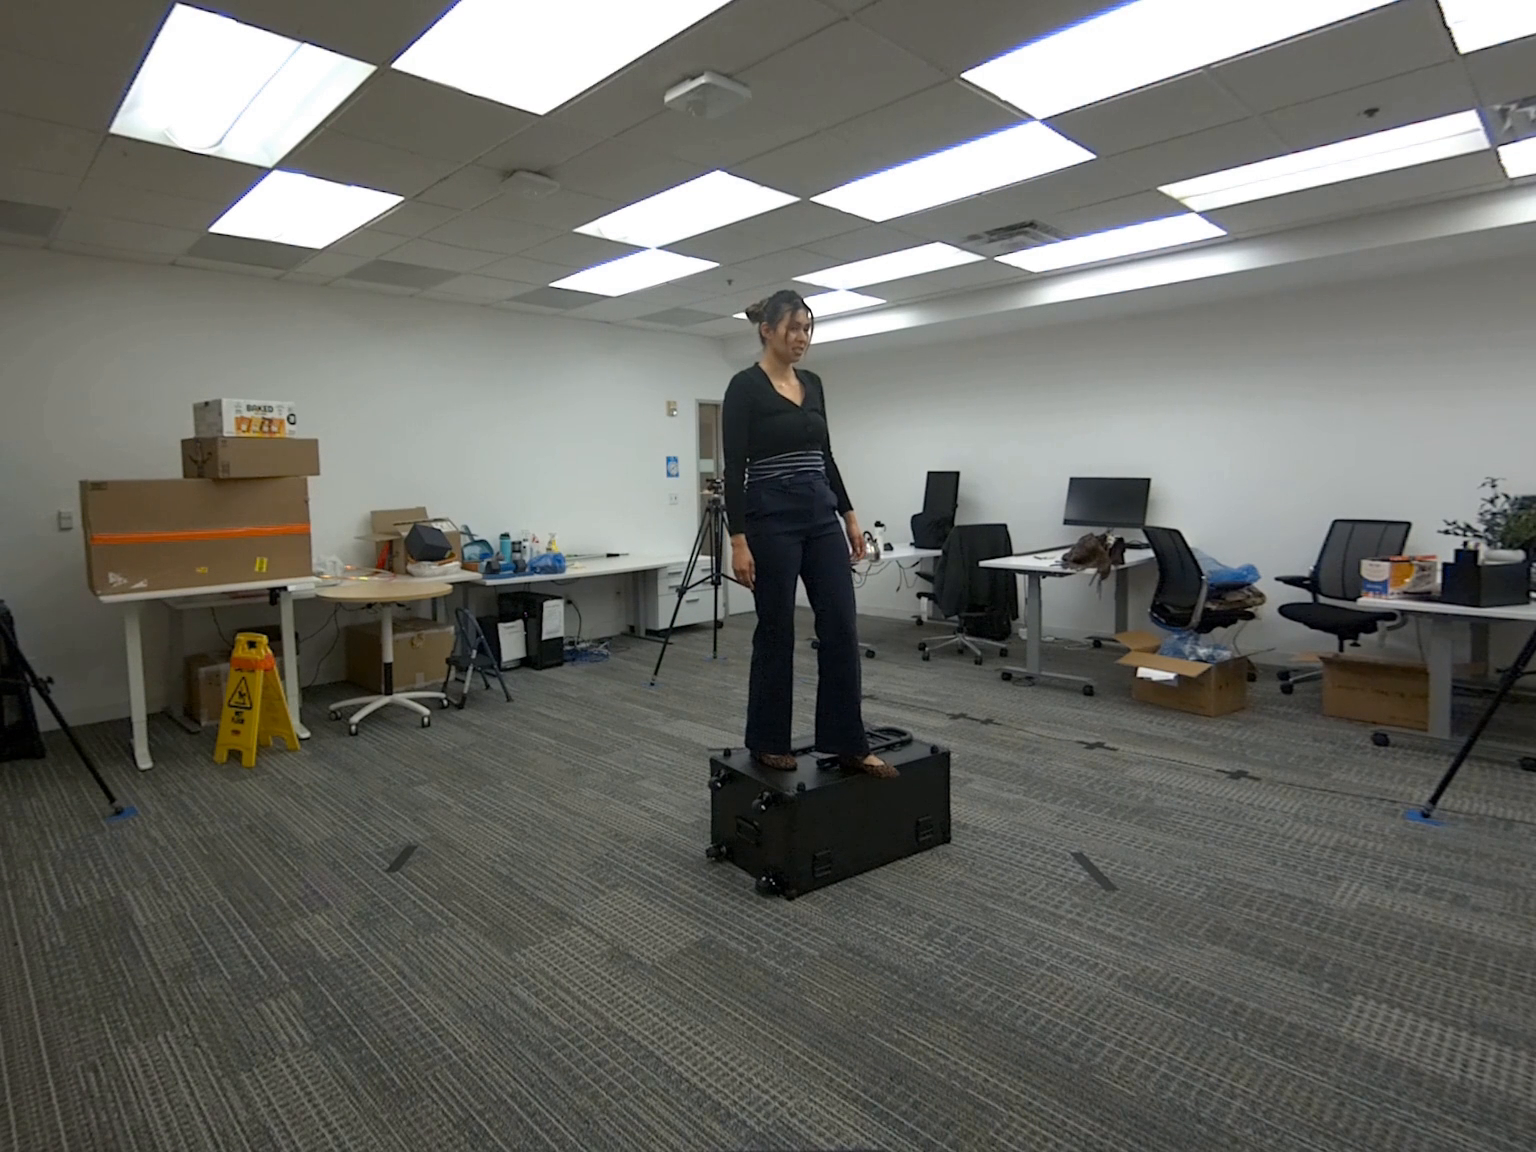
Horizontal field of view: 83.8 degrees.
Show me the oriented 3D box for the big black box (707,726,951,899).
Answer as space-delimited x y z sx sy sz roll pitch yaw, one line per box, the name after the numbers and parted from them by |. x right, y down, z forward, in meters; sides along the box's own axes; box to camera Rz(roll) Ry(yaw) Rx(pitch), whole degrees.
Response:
0.263 0.851 3.242 0.840 0.394 0.537 -5 7 -35 | big black box
